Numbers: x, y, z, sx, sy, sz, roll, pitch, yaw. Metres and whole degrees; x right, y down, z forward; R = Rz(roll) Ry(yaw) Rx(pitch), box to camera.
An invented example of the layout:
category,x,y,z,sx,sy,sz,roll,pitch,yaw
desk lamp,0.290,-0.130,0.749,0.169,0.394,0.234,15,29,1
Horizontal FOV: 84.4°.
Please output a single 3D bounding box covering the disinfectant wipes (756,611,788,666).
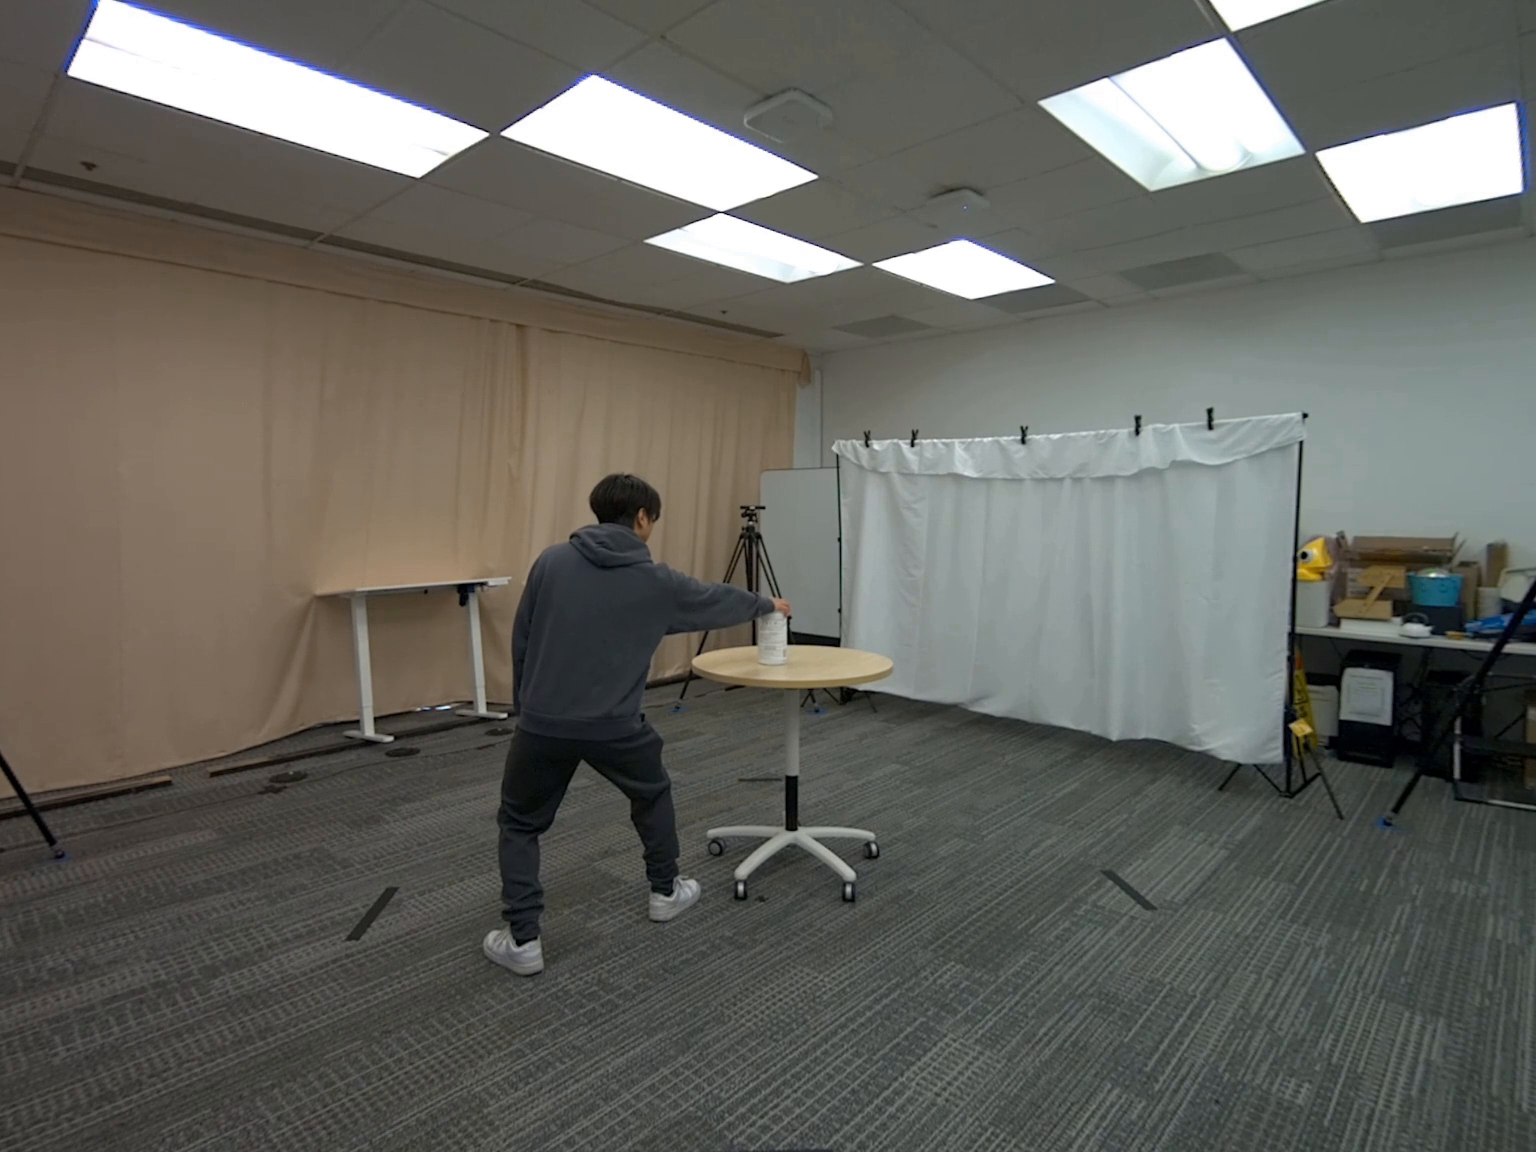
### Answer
category,x,y,z,sx,sy,sz,roll,pitch,yaw
disinfectant wipes,0.022,0.223,3.183,0.118,0.217,0.118,-1,3,-2
